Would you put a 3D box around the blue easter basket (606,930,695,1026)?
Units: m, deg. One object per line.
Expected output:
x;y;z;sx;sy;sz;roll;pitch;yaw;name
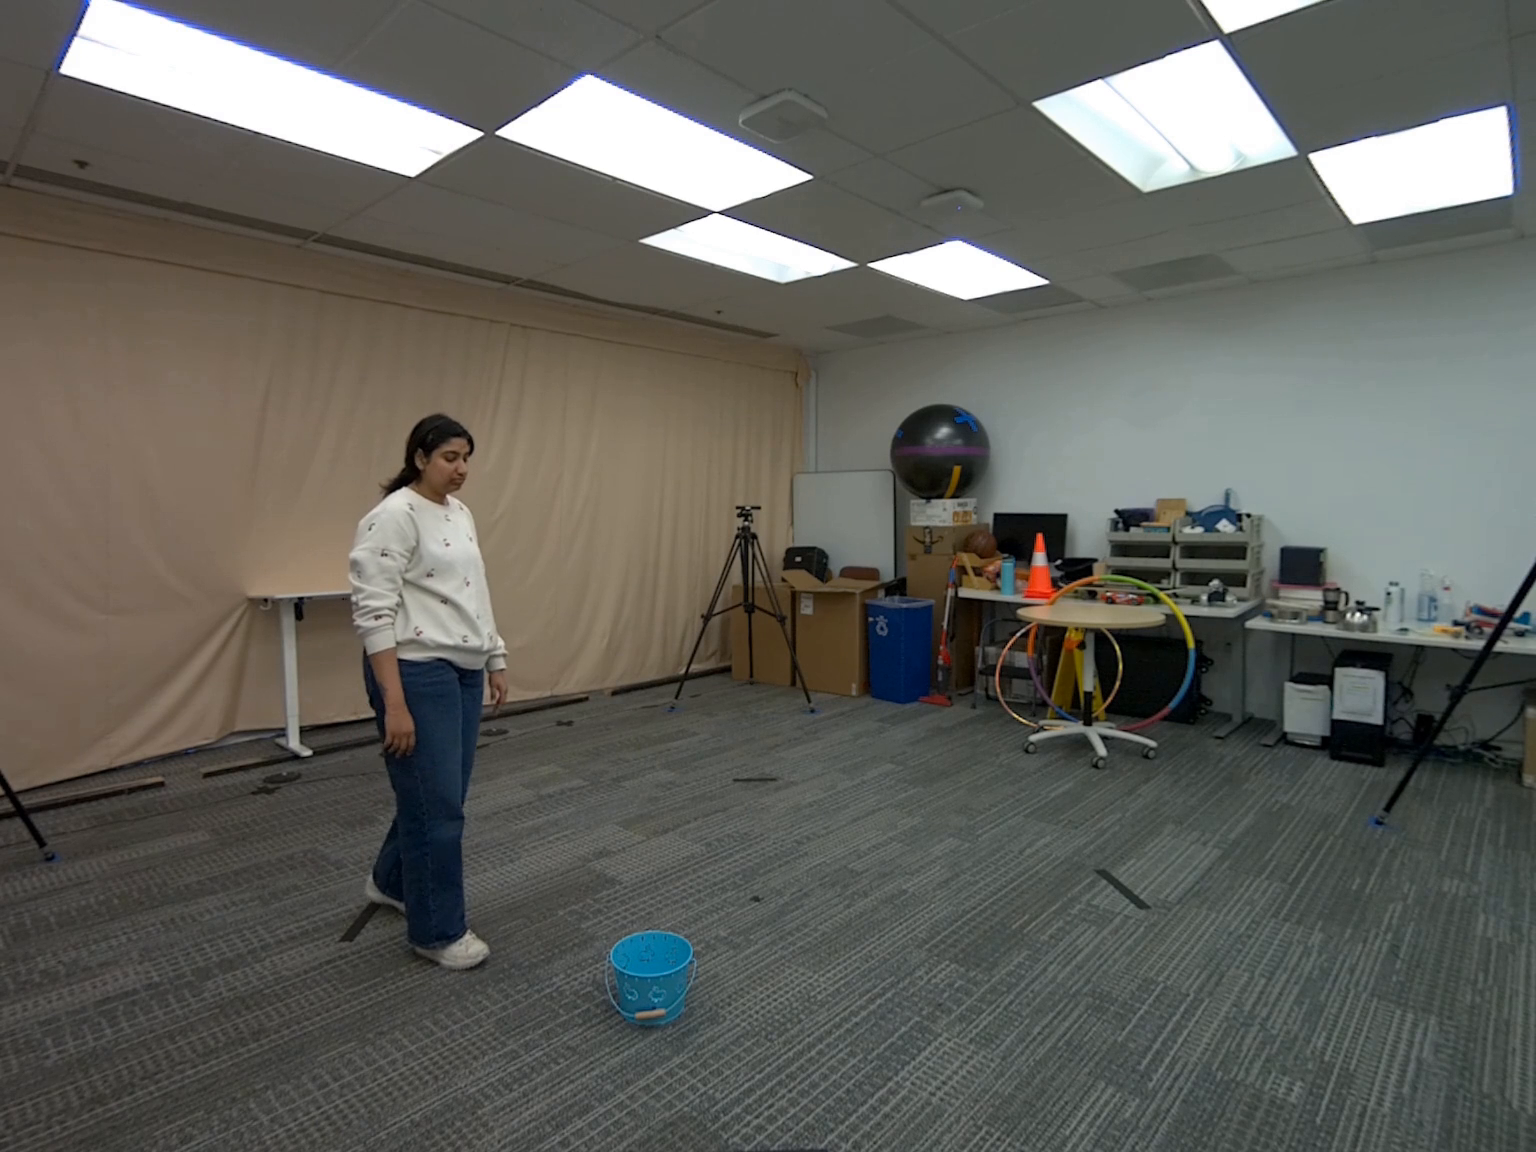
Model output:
-0.325;1.123;2.341;0.243;0.155;0.244;-1;3;-2;blue easter basket
